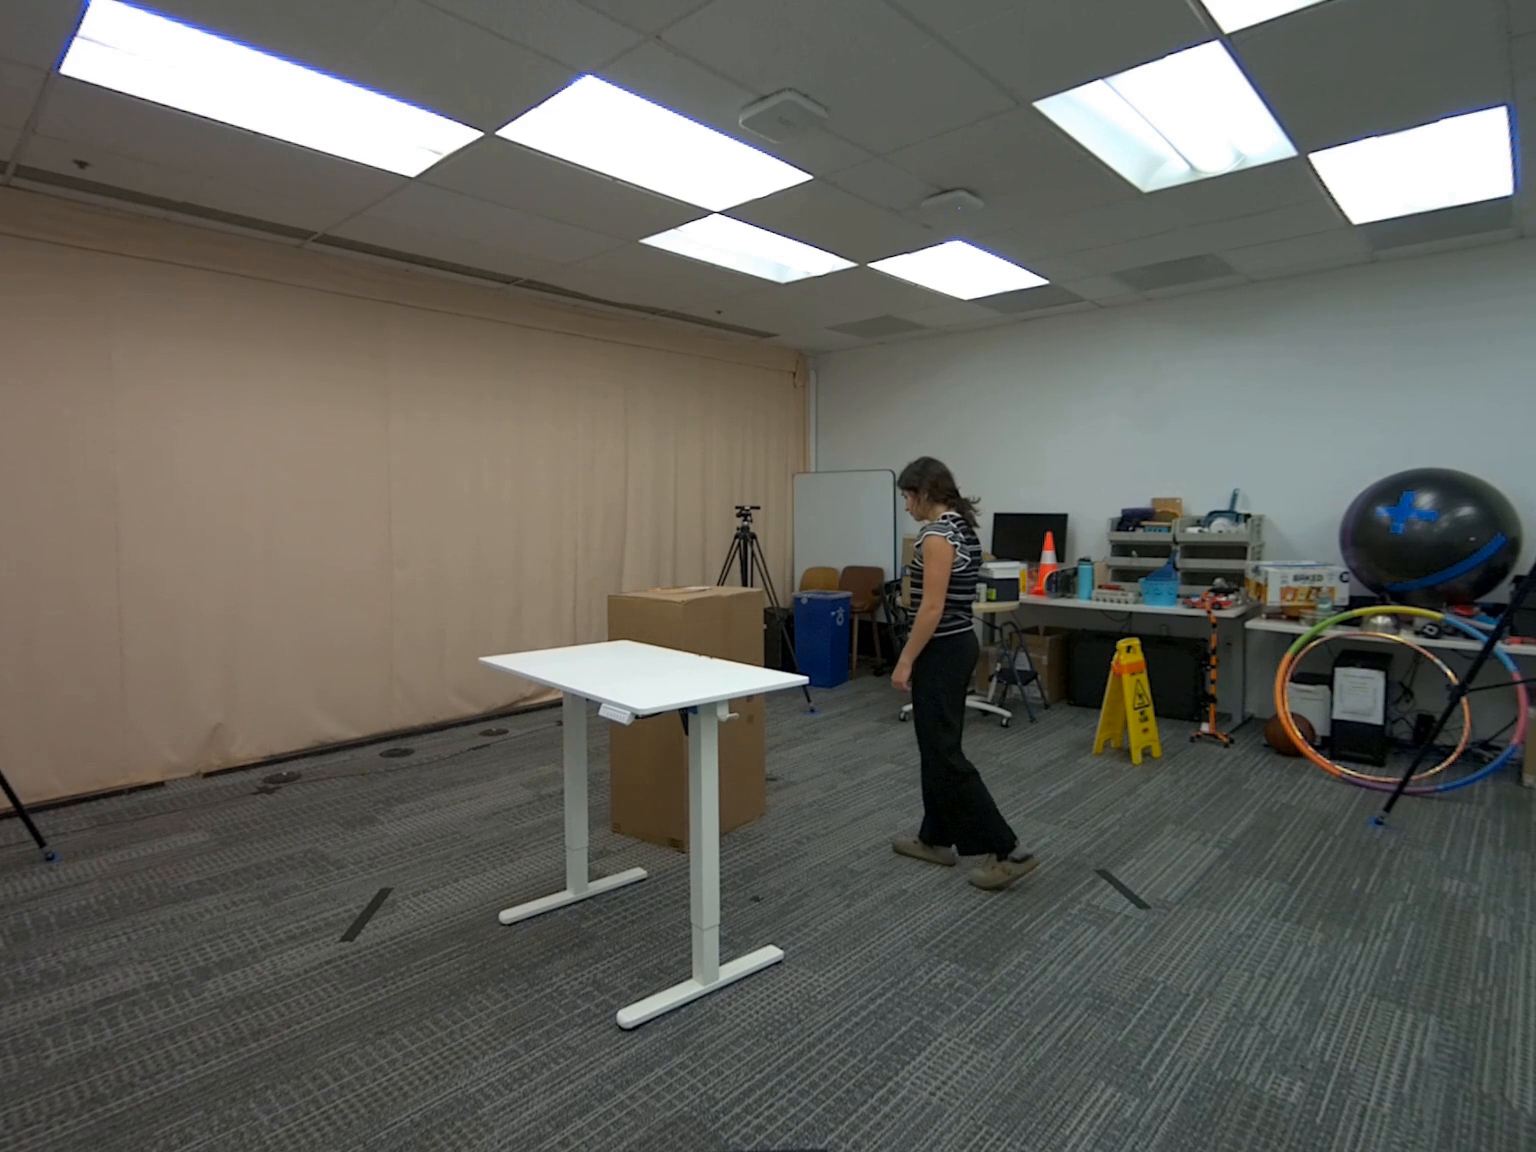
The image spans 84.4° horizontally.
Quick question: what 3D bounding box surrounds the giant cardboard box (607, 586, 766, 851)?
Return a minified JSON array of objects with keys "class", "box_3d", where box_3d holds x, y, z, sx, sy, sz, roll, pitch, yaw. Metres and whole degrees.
[{"class":"giant cardboard box","box_3d":[-0.348,0.579,3.707,0.440,1.024,0.560,1,3,36]}]
